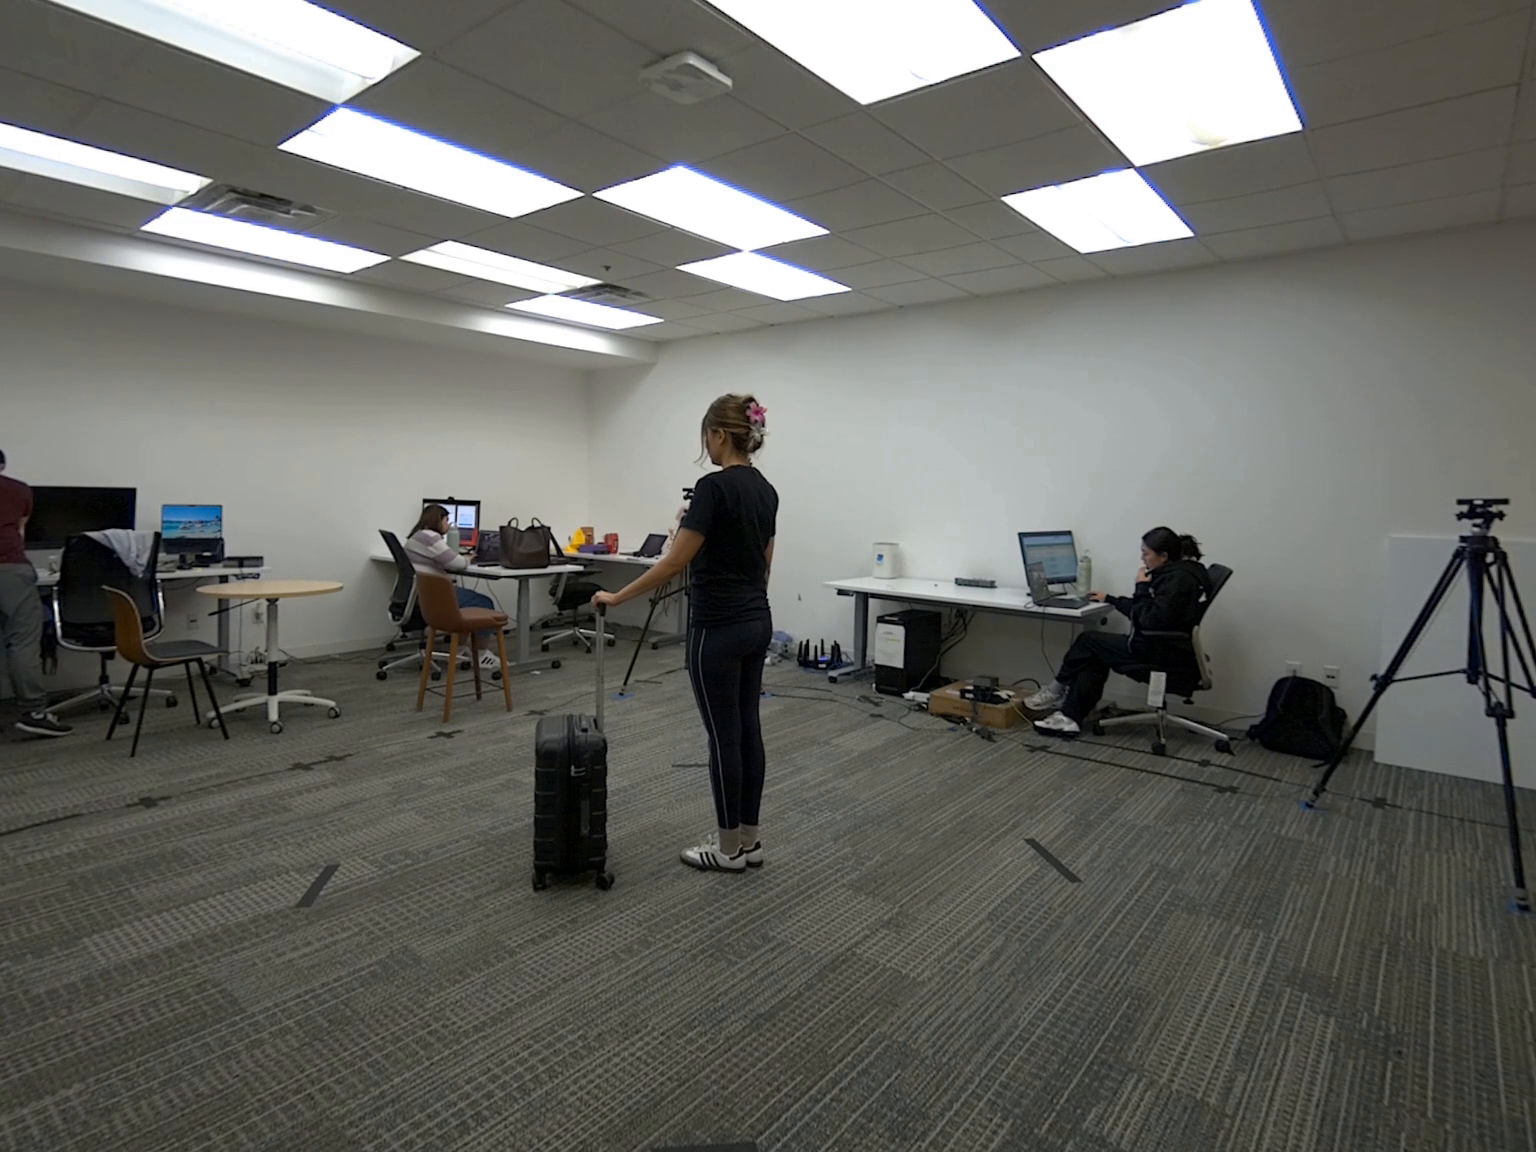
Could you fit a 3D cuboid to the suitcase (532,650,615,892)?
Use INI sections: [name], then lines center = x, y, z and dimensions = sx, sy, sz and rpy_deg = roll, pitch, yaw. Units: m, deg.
[suitcase]
center = -0.729, 0.590, 3.060
dimensions = 0.254, 0.976, 0.389
rpy_deg = -3, 3, -12
